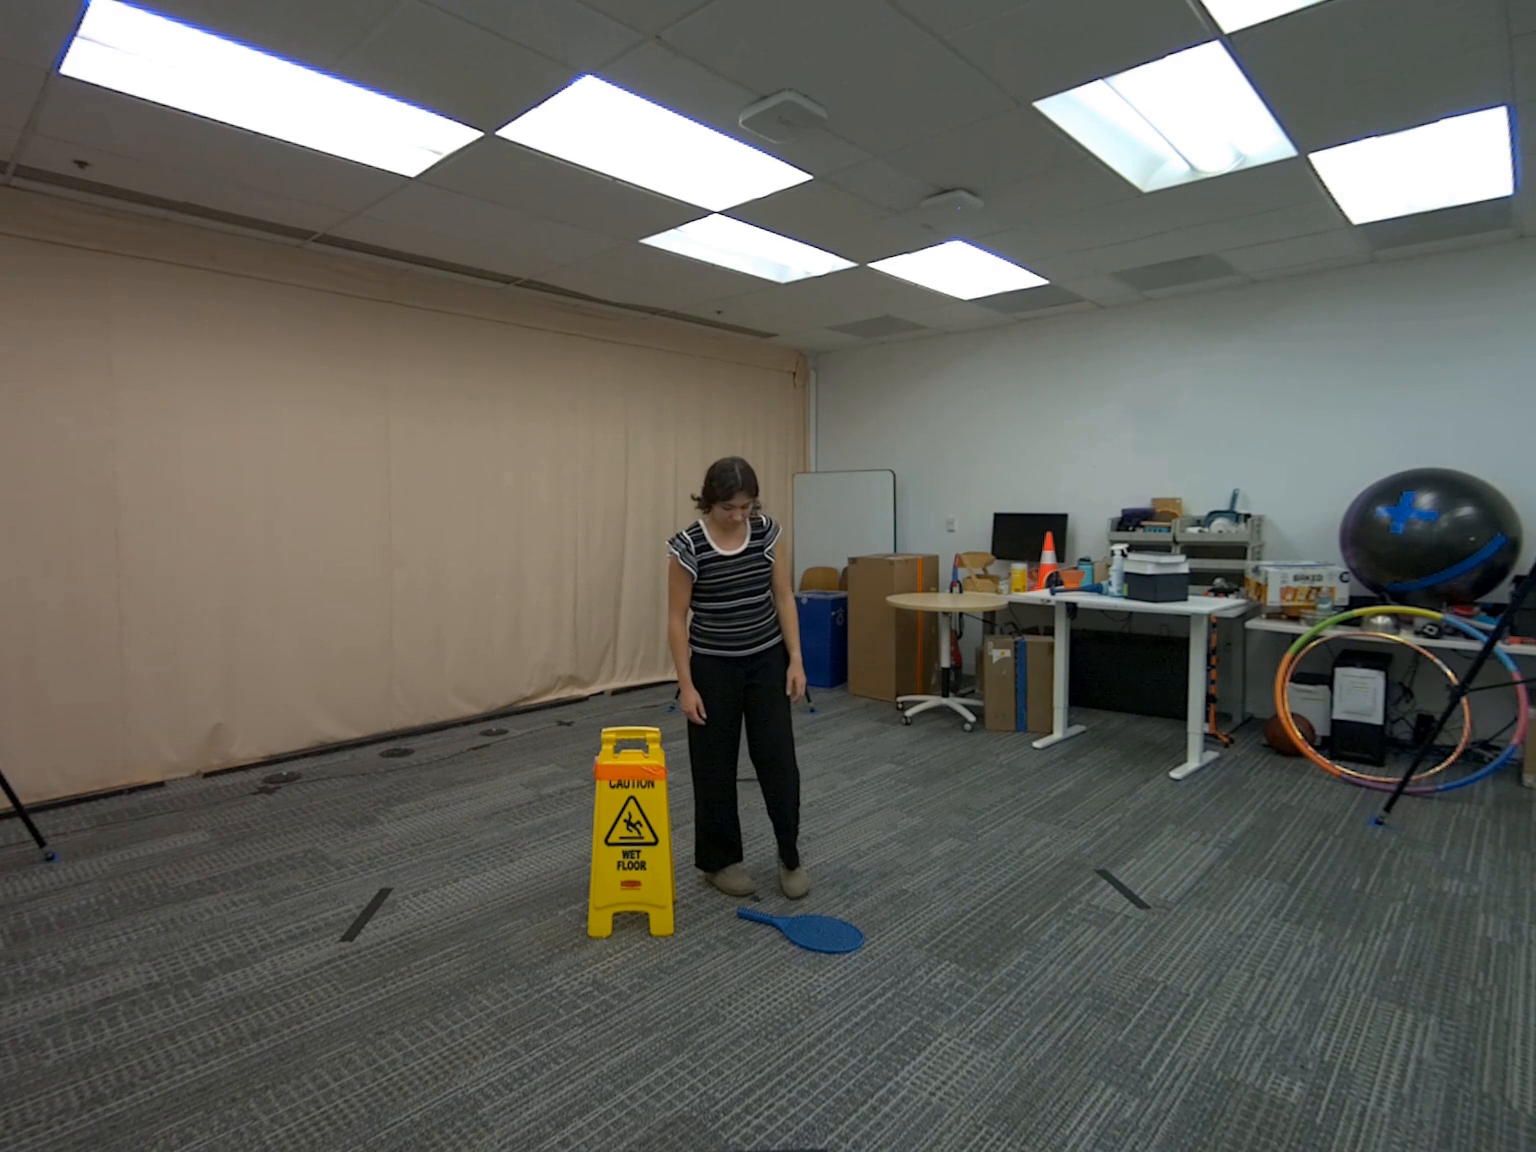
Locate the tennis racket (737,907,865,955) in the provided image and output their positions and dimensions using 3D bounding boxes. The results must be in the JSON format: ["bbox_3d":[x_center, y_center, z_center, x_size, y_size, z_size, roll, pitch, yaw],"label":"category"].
[{"bbox_3d":[0.104,1.150,2.760,0.443,0.032,0.209,3,5,23],"label":"tennis racket"}]
